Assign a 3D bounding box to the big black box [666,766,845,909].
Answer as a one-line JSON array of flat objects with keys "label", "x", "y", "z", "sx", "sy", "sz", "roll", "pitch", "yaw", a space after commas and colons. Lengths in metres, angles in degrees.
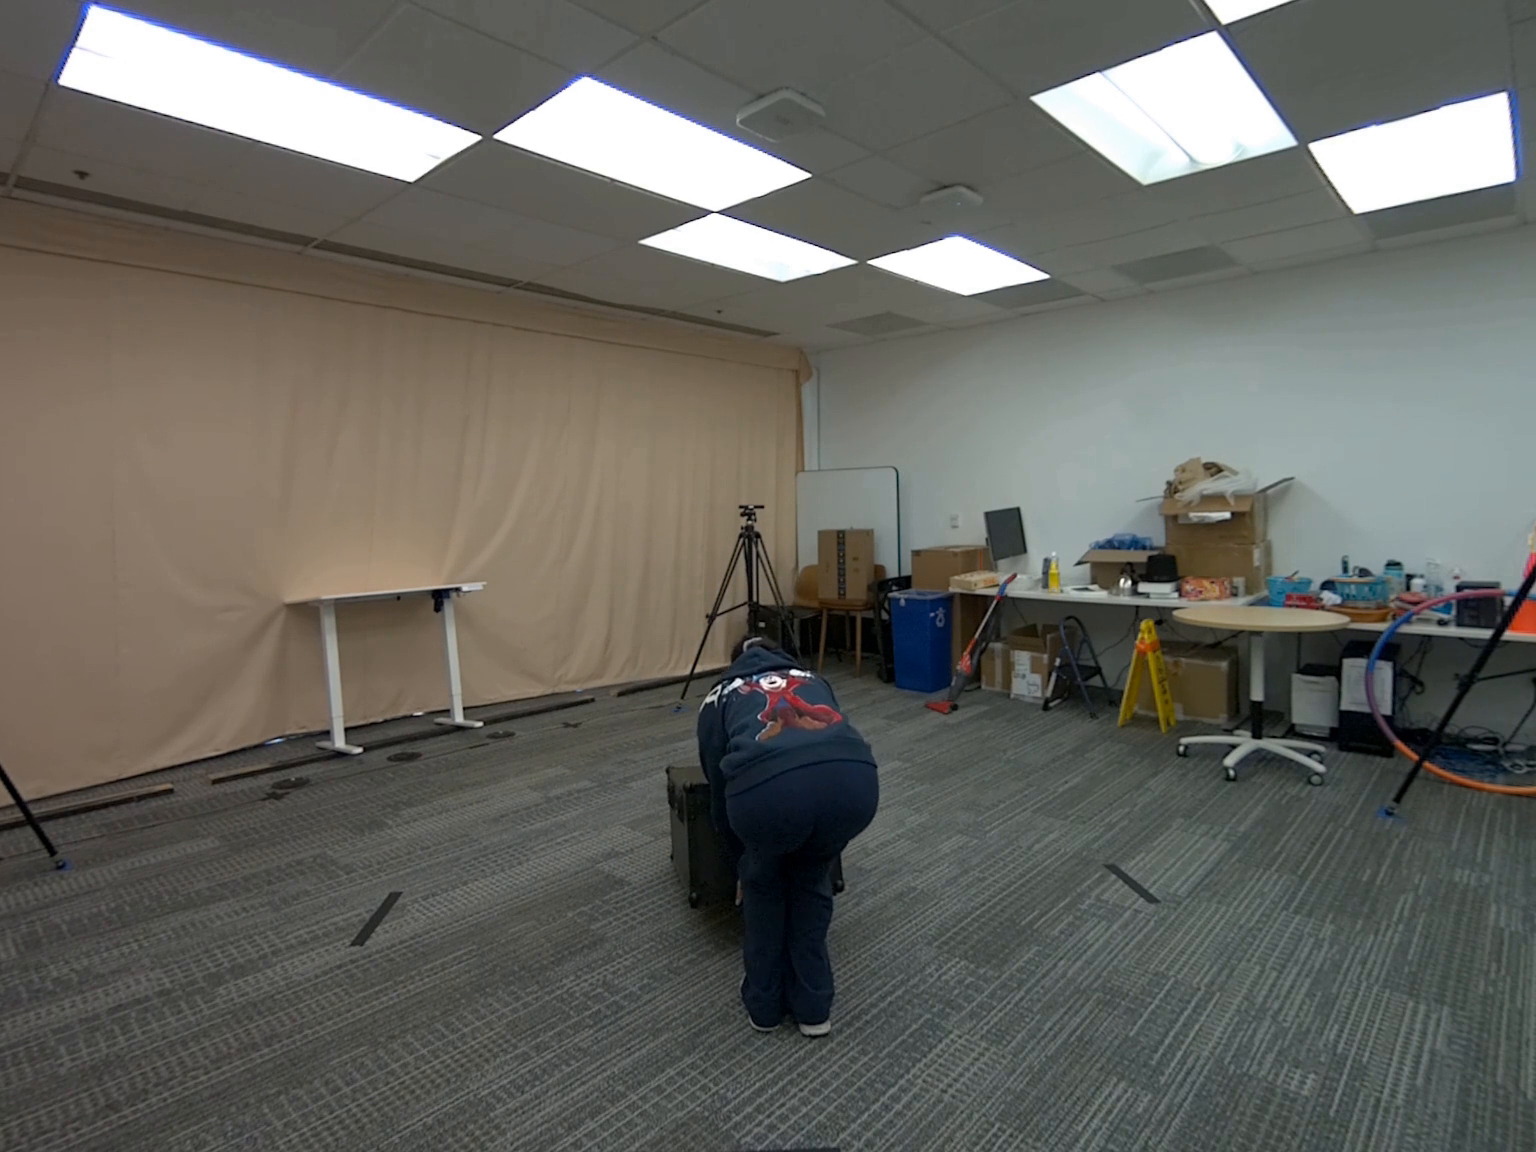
[{"label": "big black box", "x": -0.086, "y": 0.879, "z": 3.022, "sx": 0.516, "sy": 0.398, "sz": 0.865, "roll": -2, "pitch": -7, "yaw": -11}]
